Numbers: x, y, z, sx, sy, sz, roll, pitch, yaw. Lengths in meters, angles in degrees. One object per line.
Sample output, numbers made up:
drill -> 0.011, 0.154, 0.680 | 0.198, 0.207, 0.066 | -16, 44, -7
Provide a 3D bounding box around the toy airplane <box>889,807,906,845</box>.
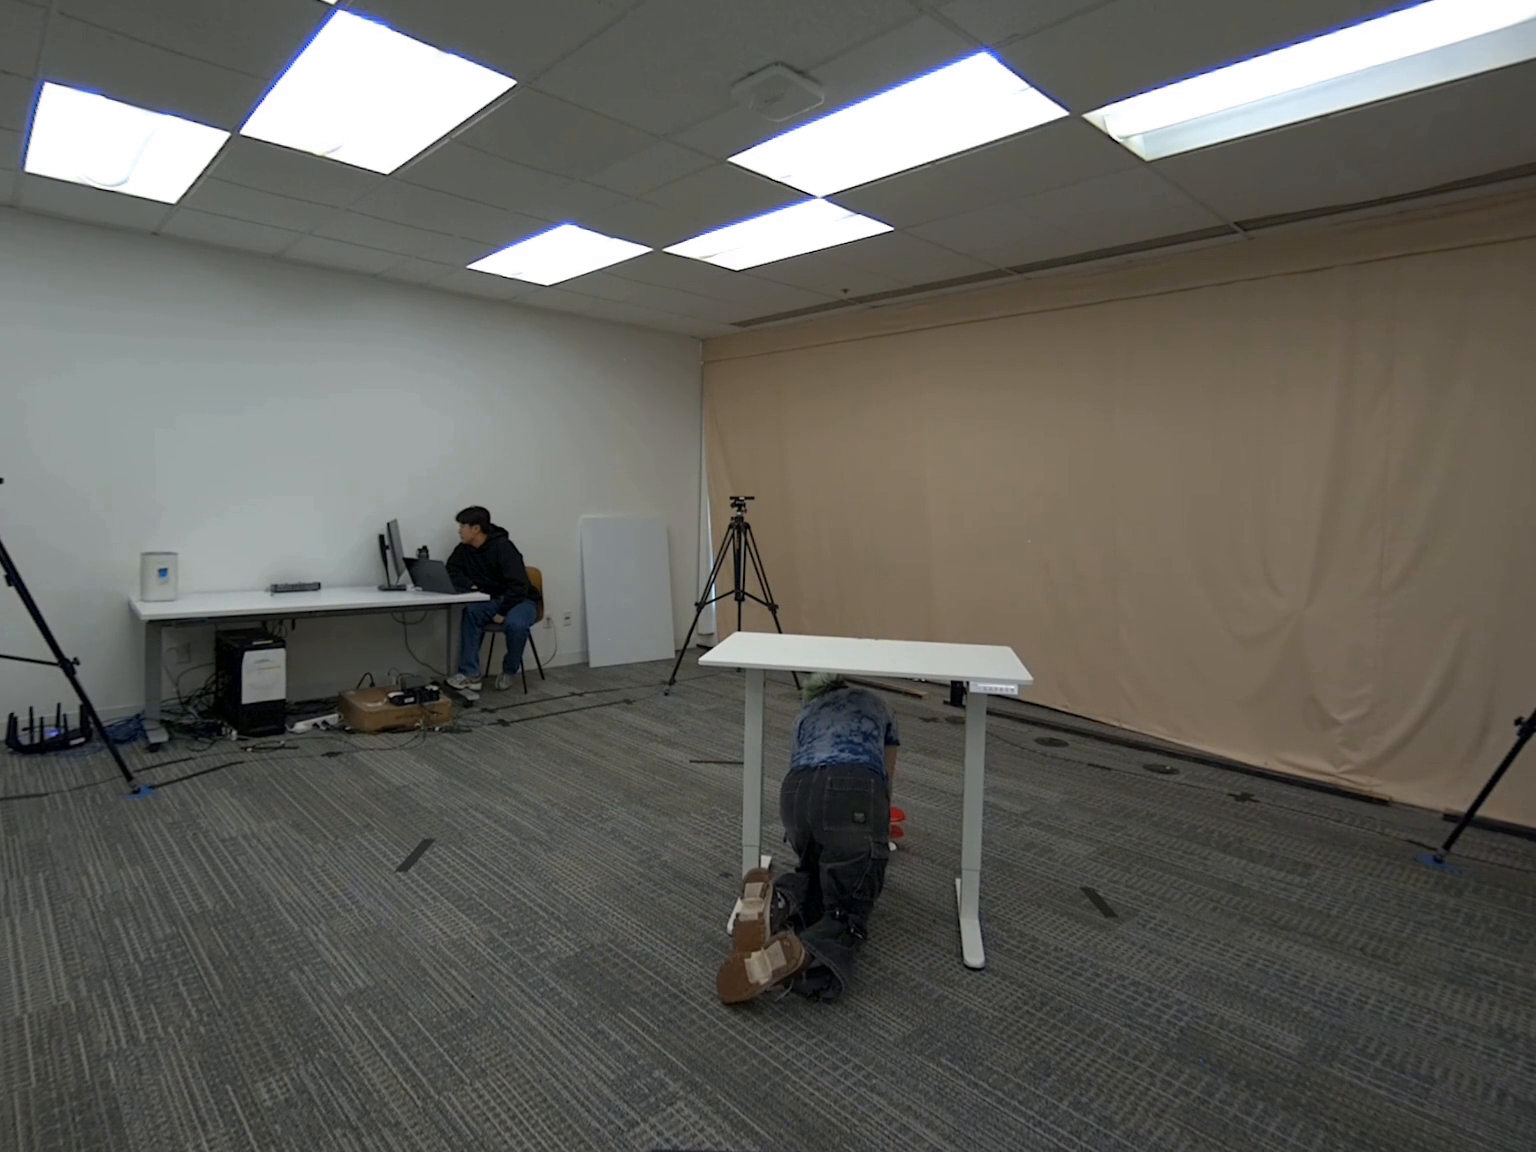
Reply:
toy airplane -> 0.440, 1.026, 3.358 | 0.246, 0.156, 0.265 | -1, 4, -31
